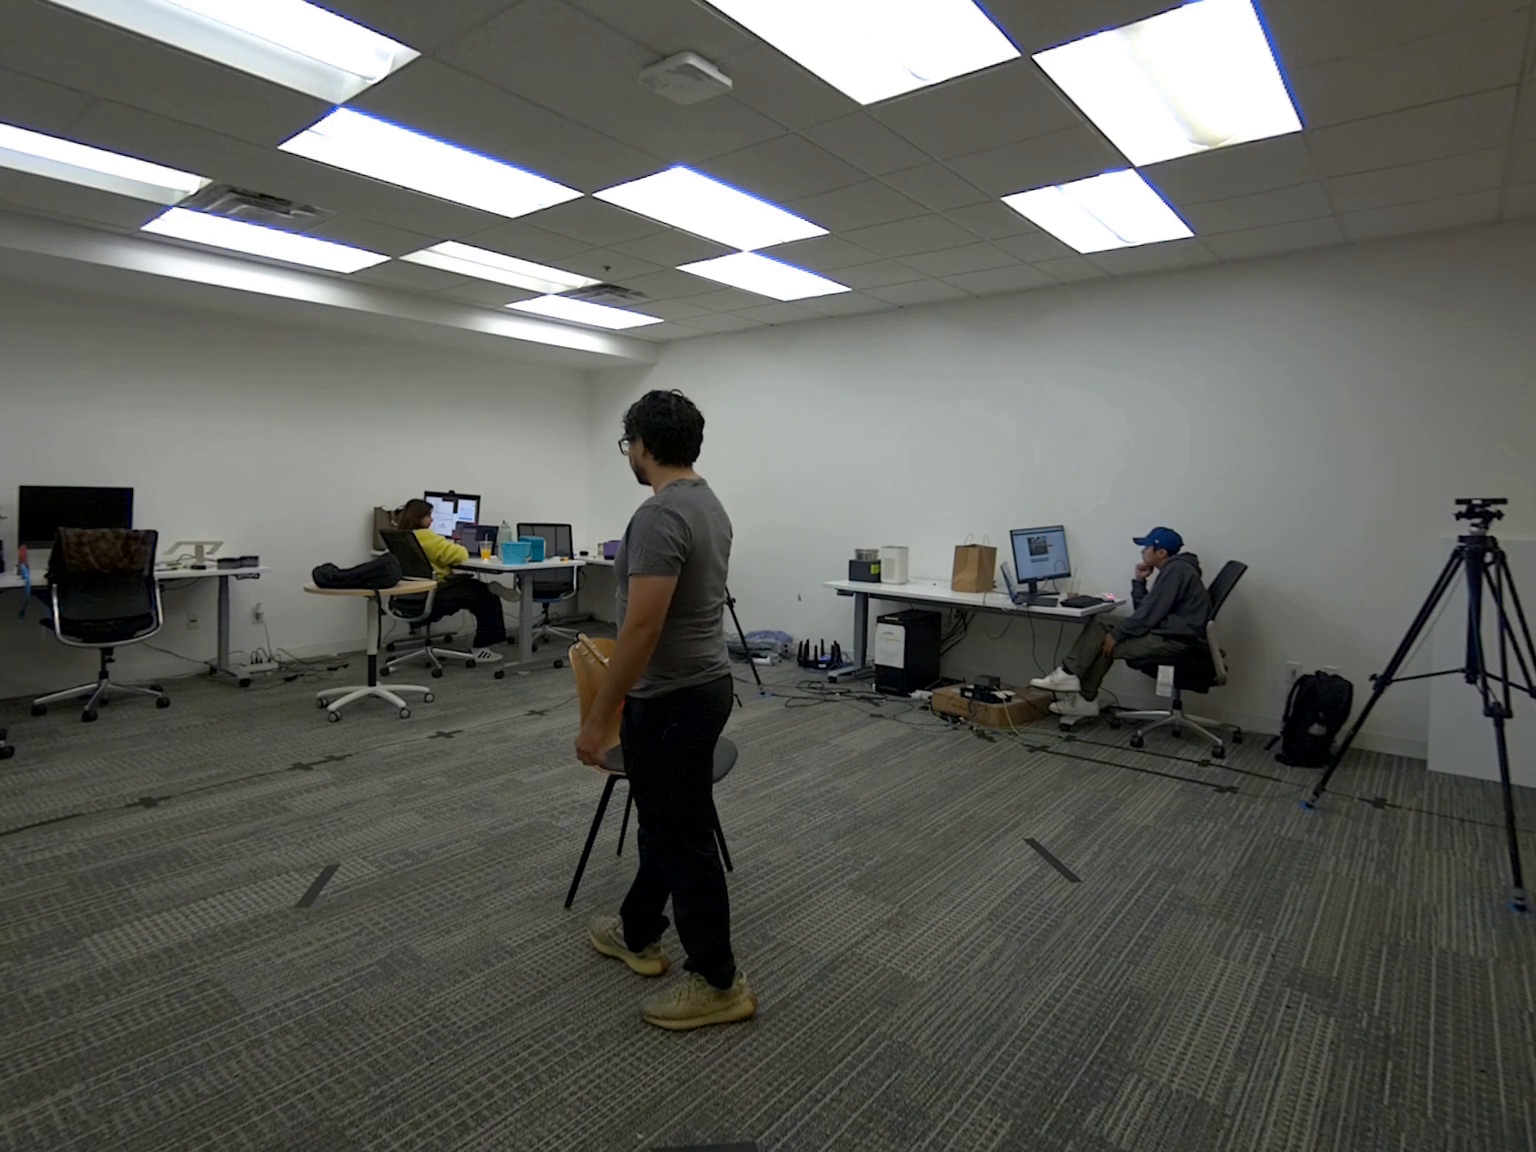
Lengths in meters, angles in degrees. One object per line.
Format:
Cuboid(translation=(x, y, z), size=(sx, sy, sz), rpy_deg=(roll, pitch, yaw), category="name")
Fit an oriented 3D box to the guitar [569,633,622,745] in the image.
Cuboid(translation=(-0.501, 0.397, 2.972), size=(0.071, 0.503, 0.191), rpy_deg=(-41, -6, 6), category="guitar")
